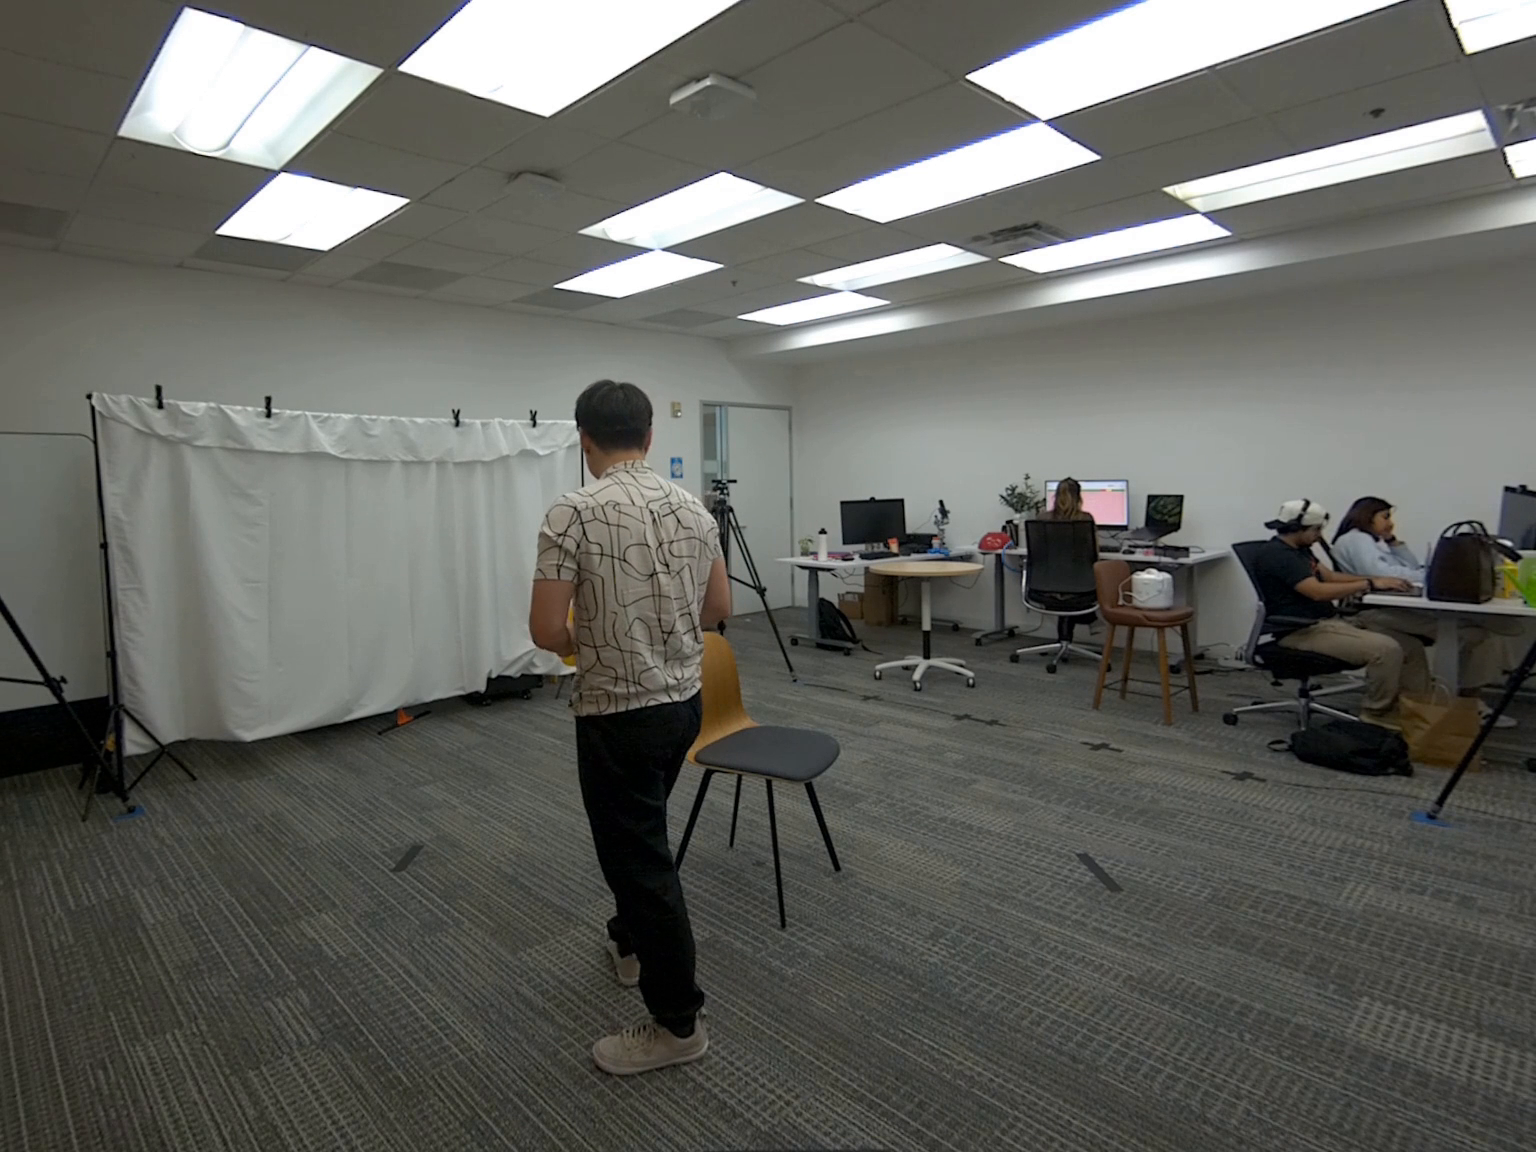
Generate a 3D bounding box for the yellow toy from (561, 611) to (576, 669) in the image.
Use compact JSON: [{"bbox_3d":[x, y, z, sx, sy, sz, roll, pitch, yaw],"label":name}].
[{"bbox_3d":[-0.483,0.097,2.327,0.202,0.227,0.199,-19,16,-23],"label":"yellow toy"}]
